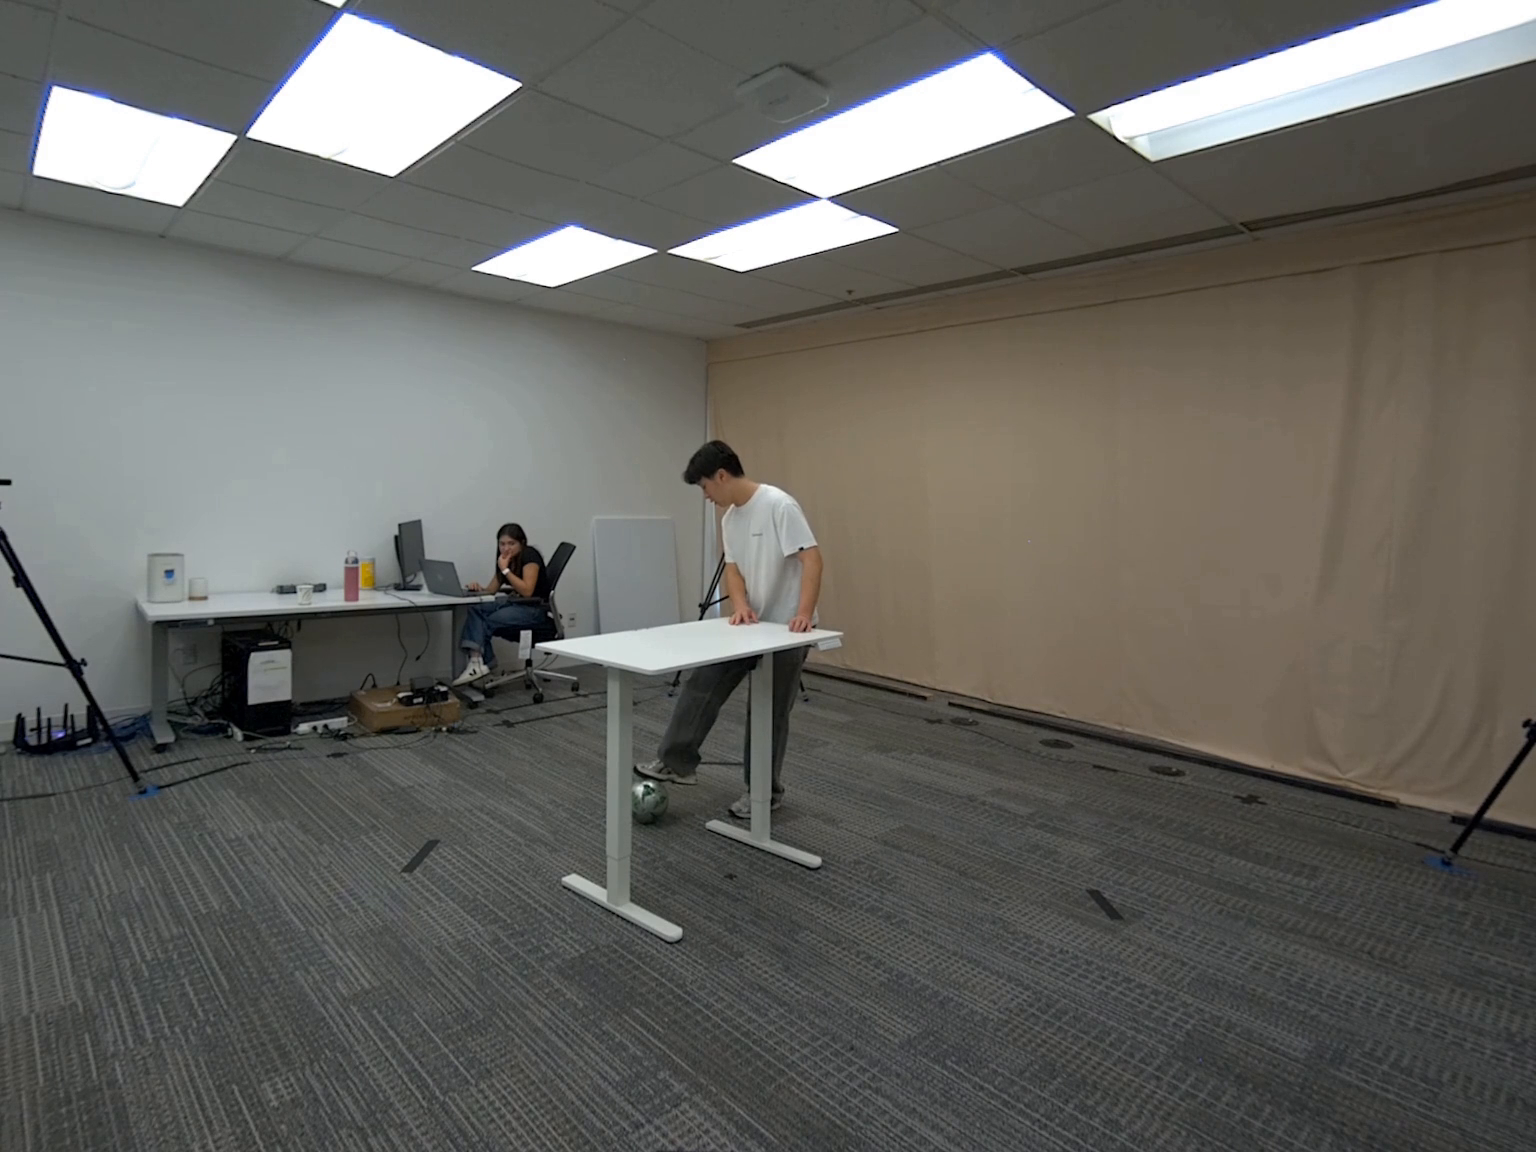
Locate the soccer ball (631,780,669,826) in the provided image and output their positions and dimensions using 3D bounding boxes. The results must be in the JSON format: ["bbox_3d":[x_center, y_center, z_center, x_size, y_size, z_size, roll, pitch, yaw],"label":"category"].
[{"bbox_3d":[-0.529,0.968,3.606,0.187,0.187,0.188,1,4,-1],"label":"soccer ball"}]
